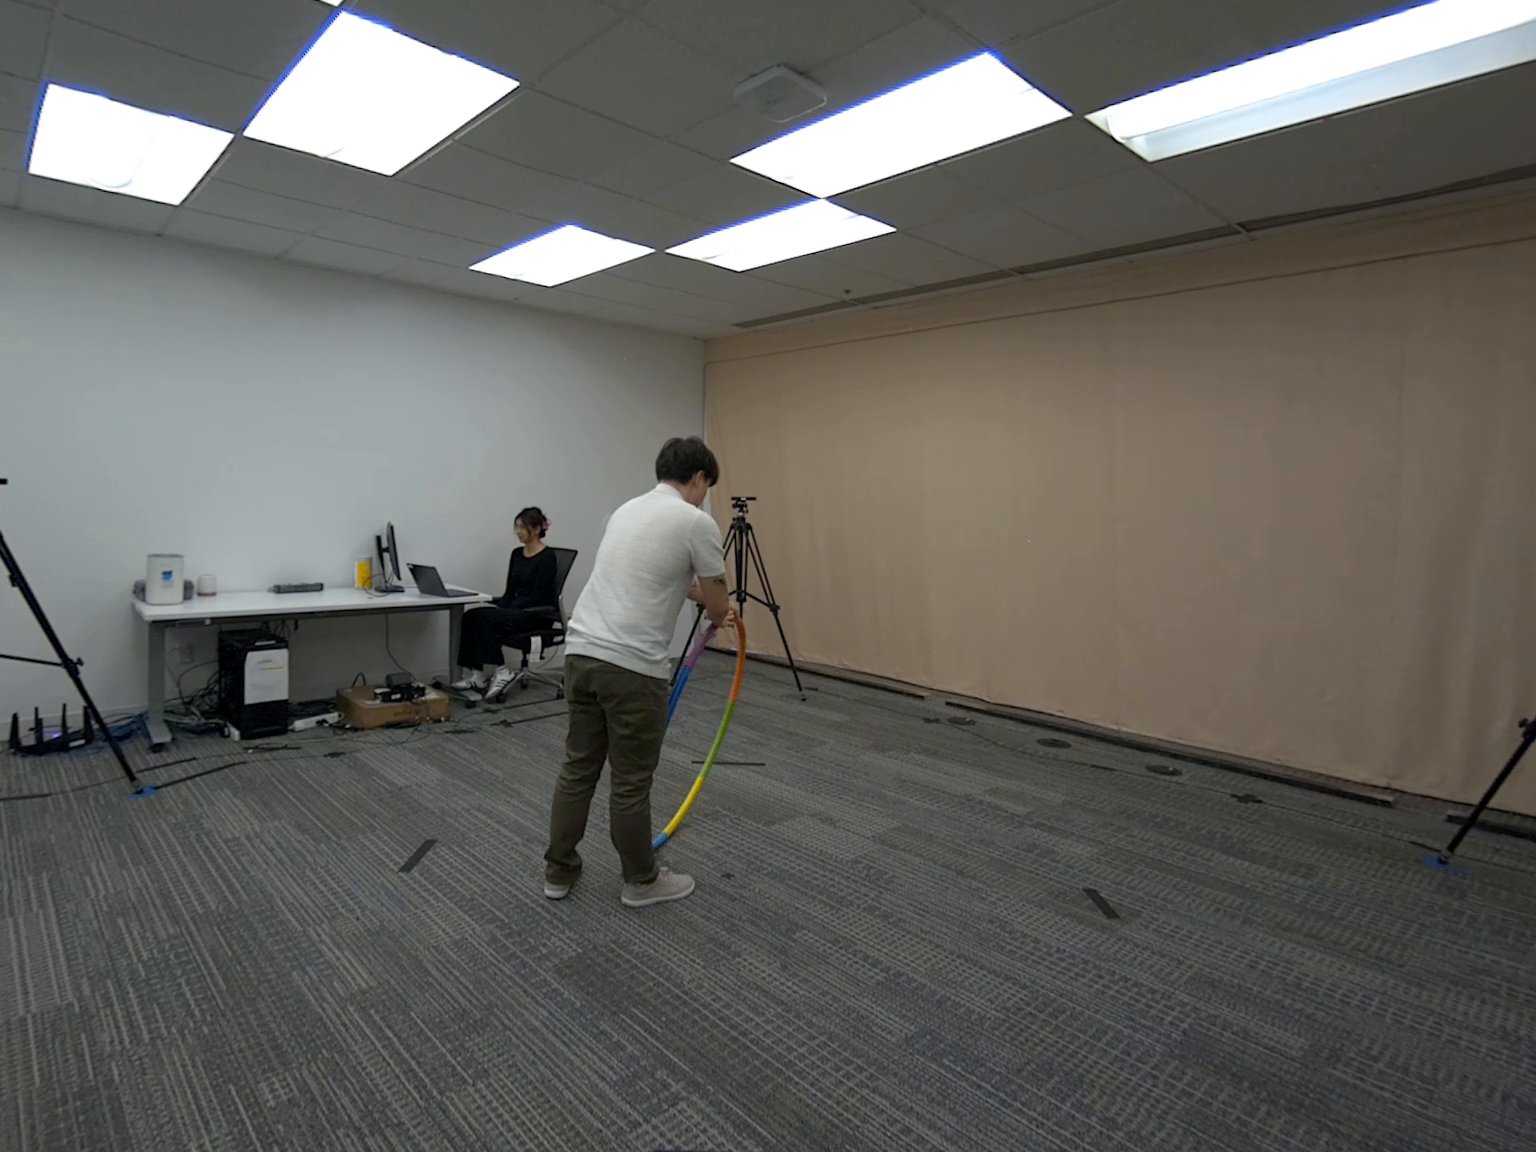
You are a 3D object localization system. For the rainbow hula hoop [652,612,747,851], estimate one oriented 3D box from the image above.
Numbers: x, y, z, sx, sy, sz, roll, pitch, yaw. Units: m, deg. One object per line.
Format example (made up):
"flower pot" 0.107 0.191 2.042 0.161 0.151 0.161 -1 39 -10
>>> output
"rainbow hula hoop" -0.289 0.607 3.351 0.036 0.975 0.970 19 8 11
